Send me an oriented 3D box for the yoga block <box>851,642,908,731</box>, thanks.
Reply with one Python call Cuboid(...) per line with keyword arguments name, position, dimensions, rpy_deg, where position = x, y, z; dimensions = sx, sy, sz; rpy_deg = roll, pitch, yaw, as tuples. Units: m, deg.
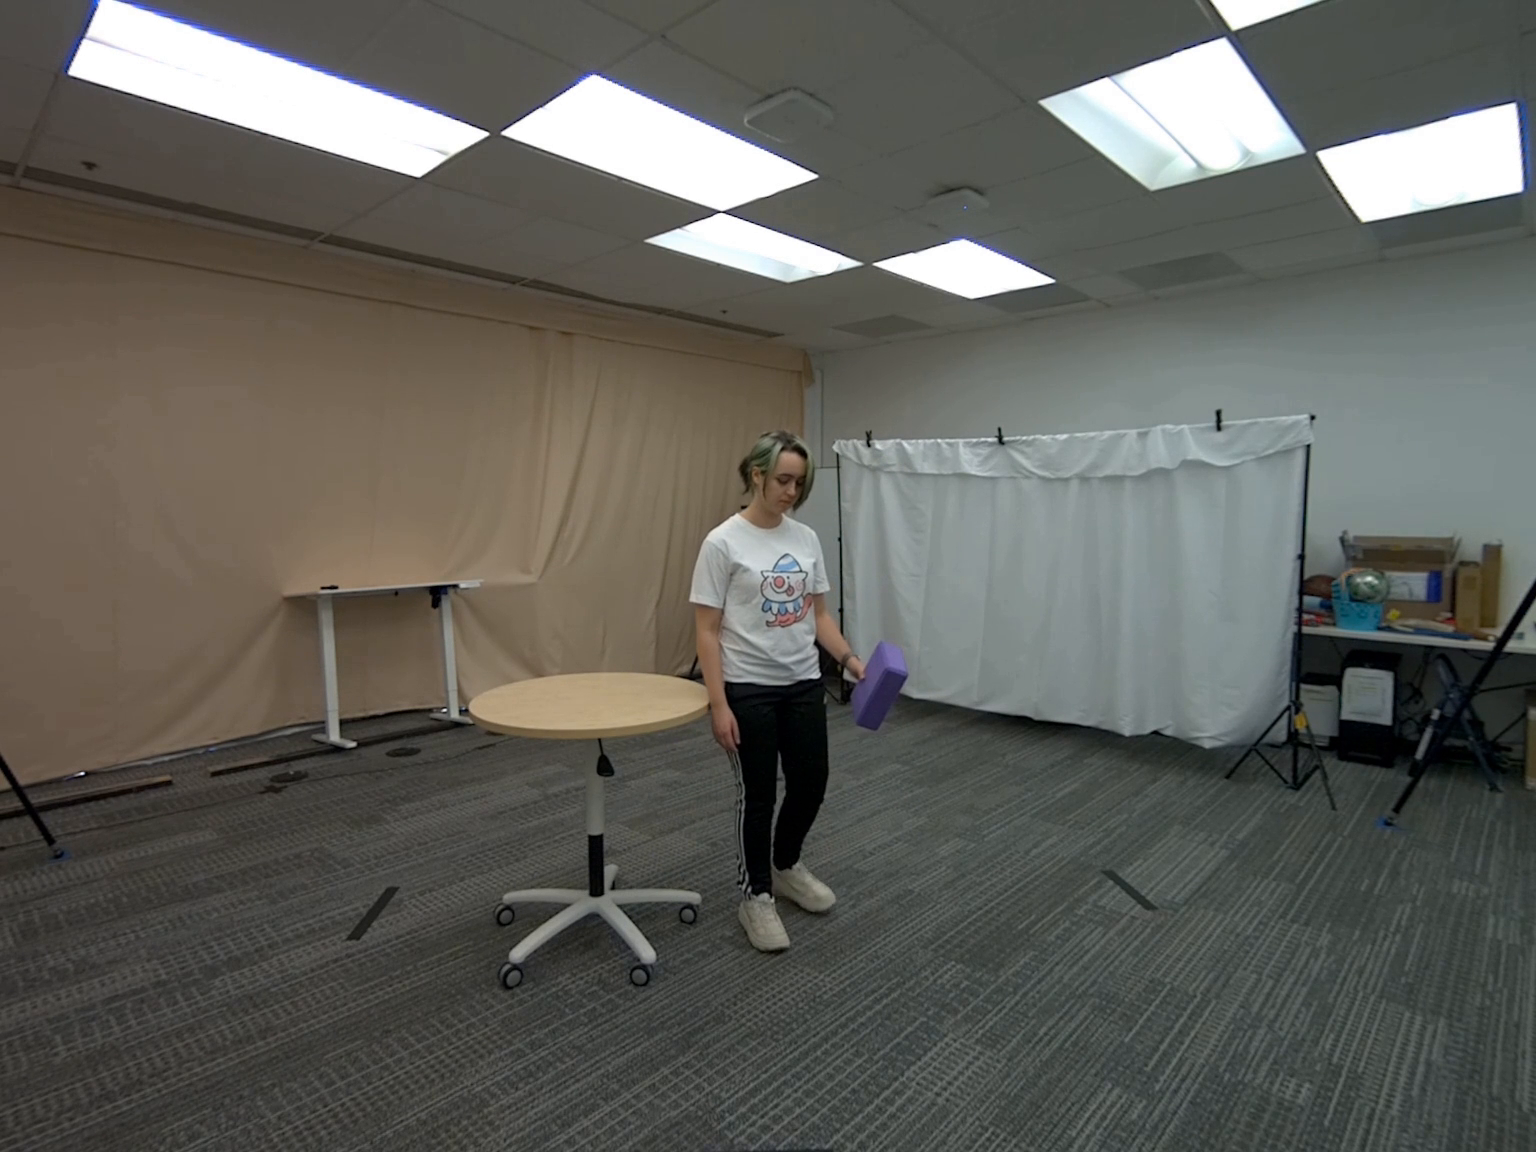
Cuboid(name="yoga block", position=(0.334, 0.328, 2.537), dimensions=(0.075, 0.228, 0.152), rpy_deg=(12, 26, -11))
